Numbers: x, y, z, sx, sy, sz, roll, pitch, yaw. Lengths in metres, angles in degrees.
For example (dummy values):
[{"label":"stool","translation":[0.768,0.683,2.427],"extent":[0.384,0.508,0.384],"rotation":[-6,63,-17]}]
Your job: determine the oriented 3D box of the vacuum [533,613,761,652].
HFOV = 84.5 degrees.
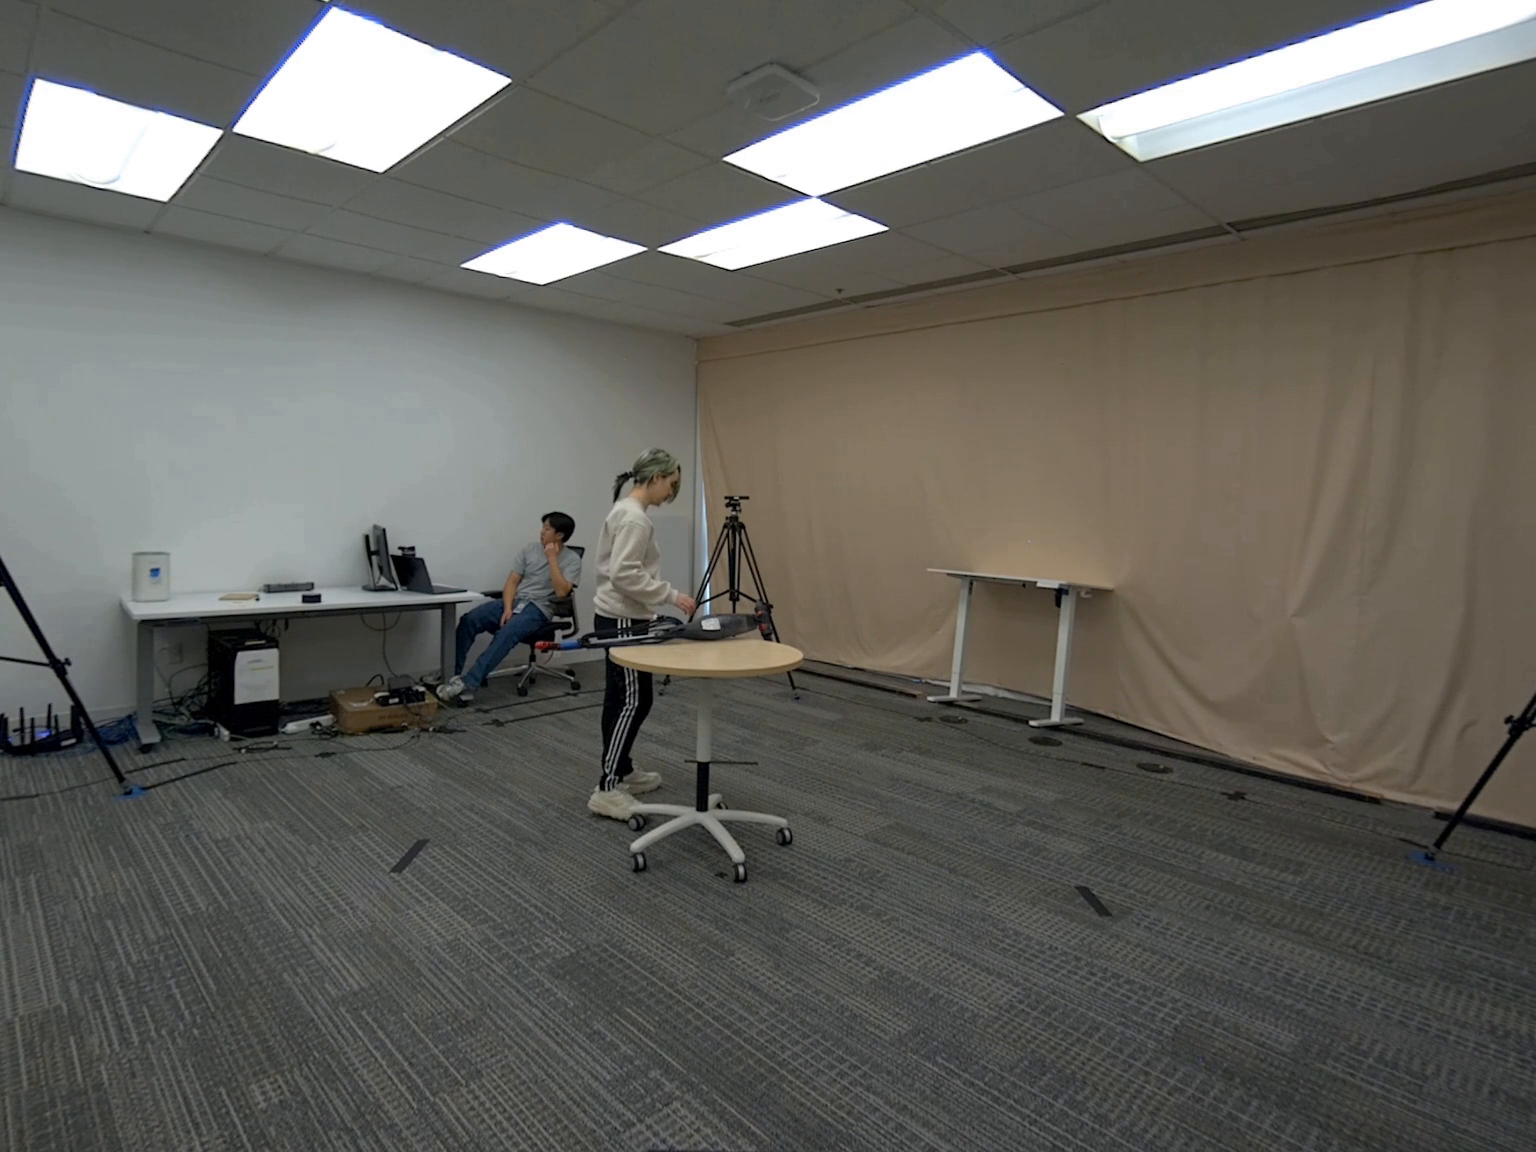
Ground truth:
[{"label":"vacuum","translation":[-0.456,0.247,3.506],"extent":[1.029,0.257,0.144],"rotation":[-3,-25,-28]}]
